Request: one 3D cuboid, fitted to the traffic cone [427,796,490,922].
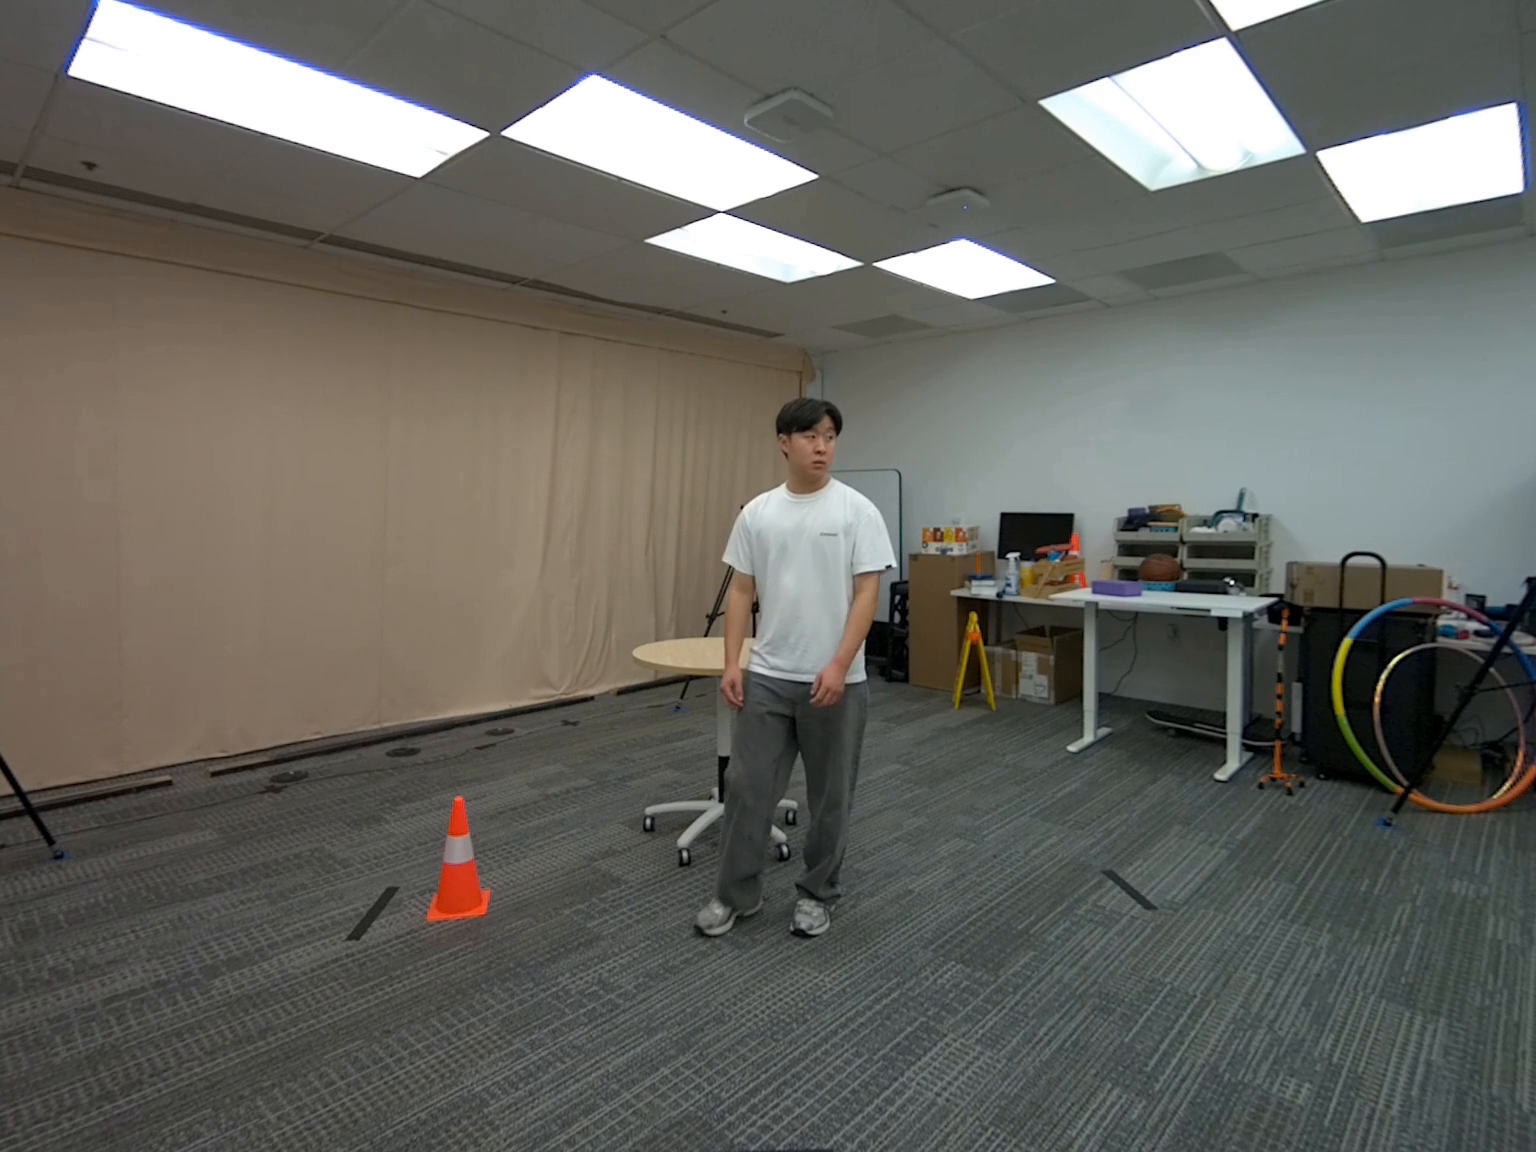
[{"bbox_3d":[-1.091,0.975,2.947,0.203,0.383,0.206,-2,2,-11],"label":"traffic cone"}]
